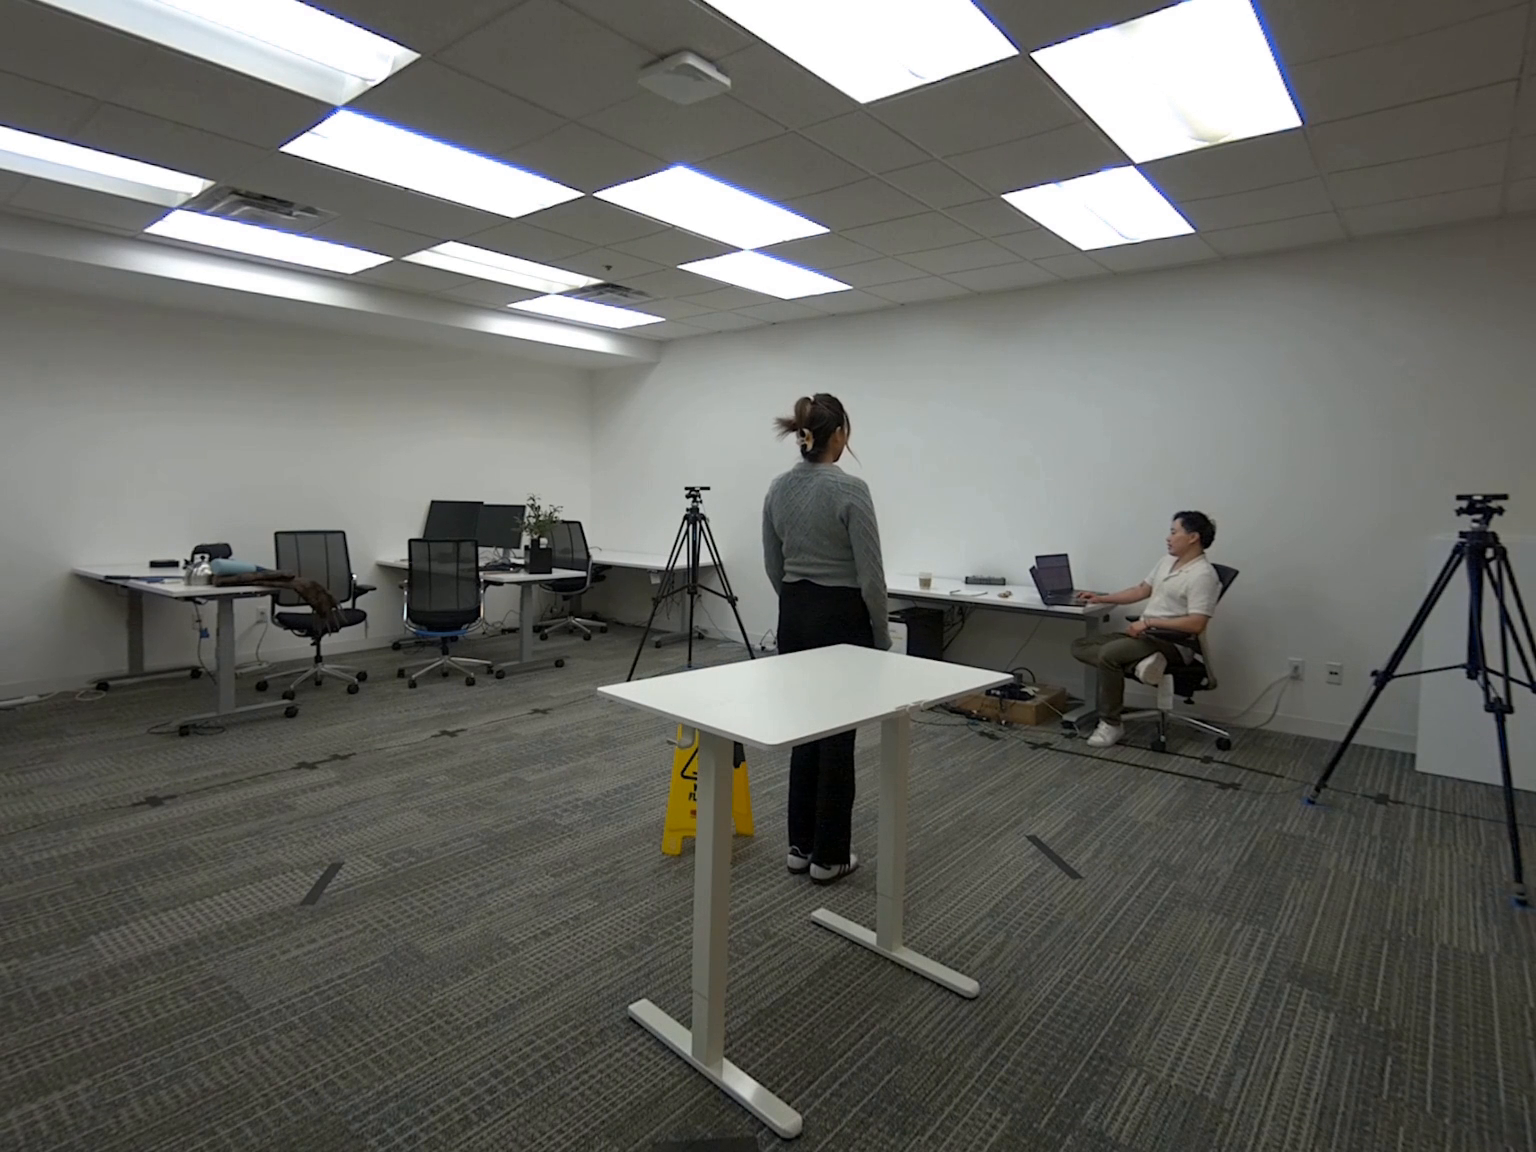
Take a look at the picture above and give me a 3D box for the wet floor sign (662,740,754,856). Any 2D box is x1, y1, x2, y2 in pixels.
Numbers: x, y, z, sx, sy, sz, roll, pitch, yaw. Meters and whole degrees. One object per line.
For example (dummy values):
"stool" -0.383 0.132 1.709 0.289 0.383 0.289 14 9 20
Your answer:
"wet floor sign" -0.234 0.719 3.314 0.288 0.644 0.284 3 3 19
